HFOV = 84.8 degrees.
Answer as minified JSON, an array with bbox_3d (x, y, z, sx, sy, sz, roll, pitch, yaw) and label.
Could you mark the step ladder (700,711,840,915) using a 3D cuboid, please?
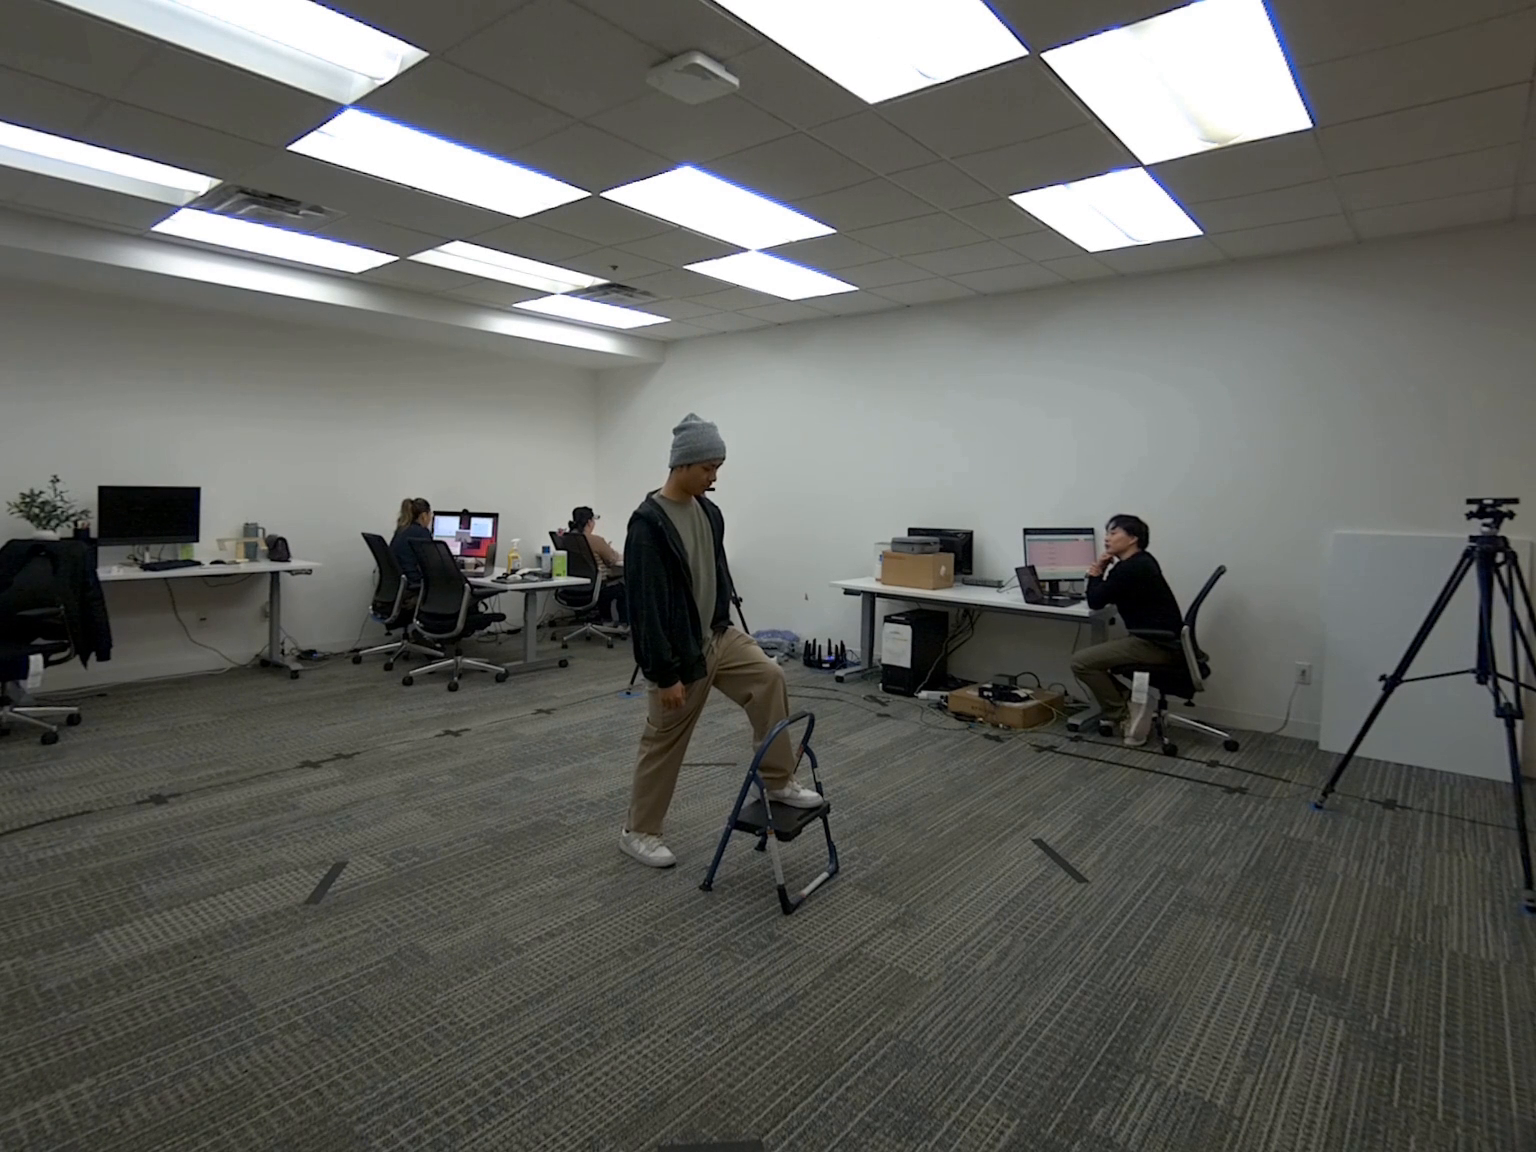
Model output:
[{"bbox_3d":[0.016,0.779,3.015,0.360,0.604,0.419,4,4,29],"label":"step ladder"}]
